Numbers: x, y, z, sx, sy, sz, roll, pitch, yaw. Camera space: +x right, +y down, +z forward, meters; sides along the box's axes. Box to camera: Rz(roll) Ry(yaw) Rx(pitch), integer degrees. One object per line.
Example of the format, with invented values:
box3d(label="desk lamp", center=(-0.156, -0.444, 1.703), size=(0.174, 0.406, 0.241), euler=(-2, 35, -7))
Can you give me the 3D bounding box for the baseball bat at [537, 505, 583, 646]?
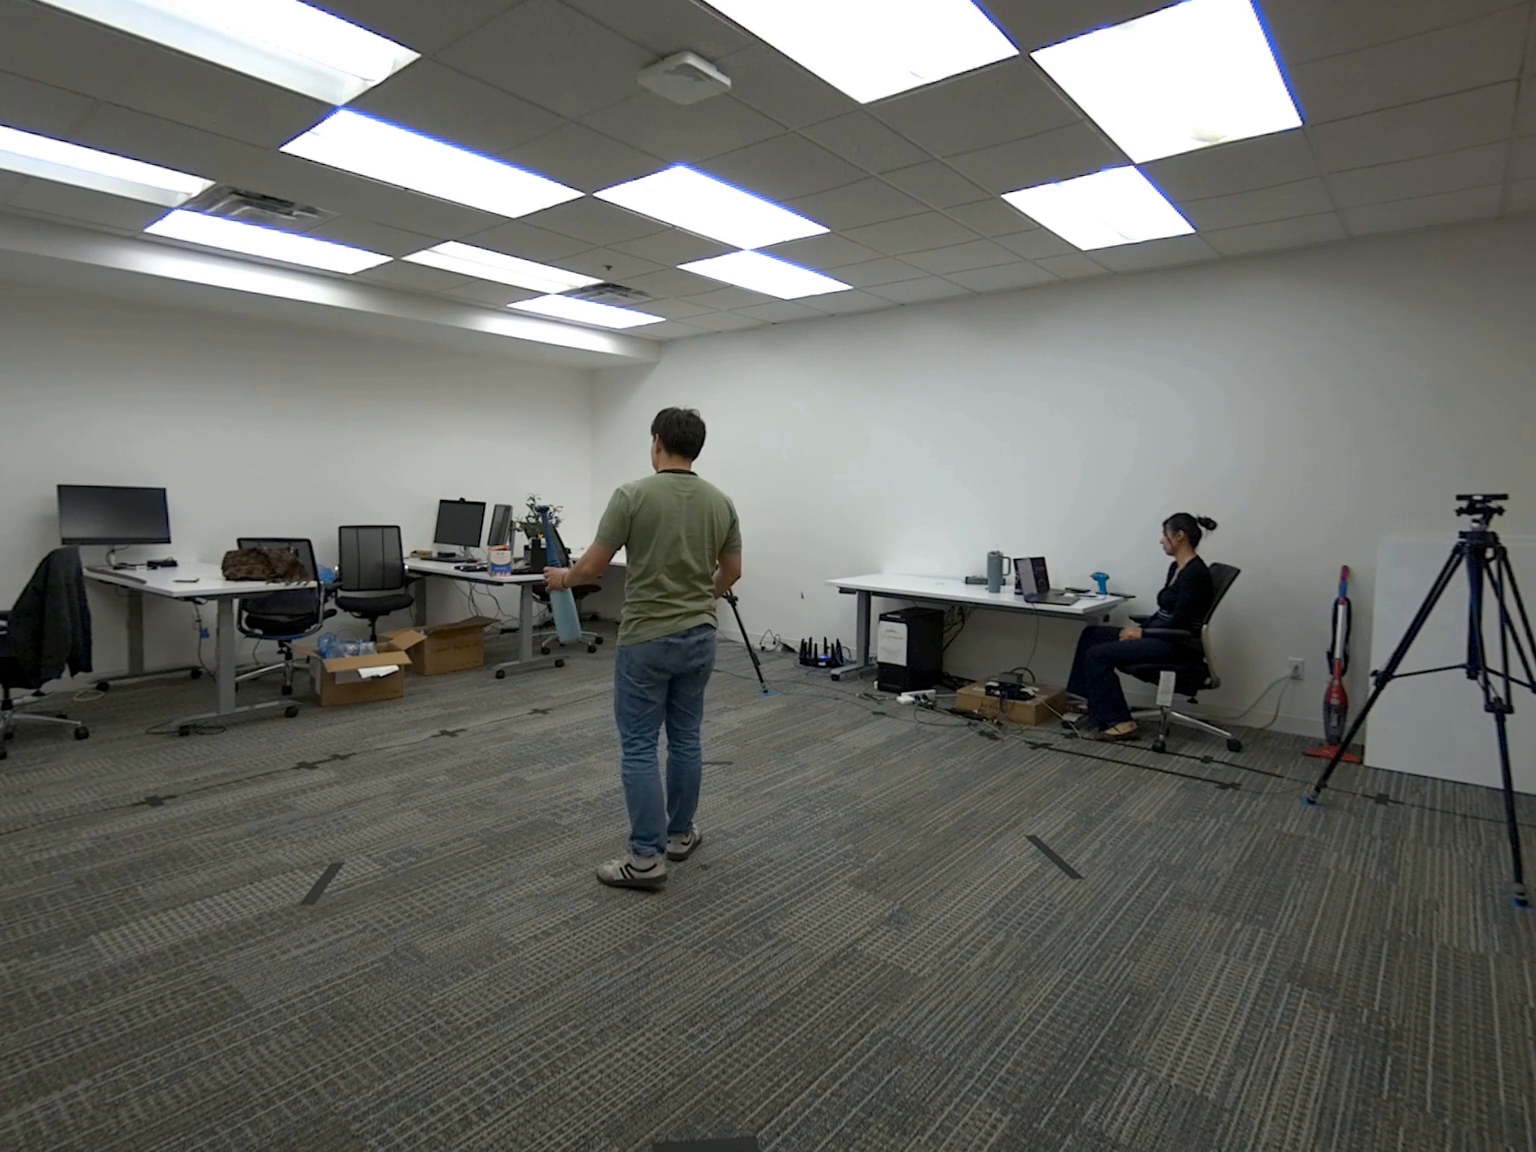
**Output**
box3d(label="baseball bat", center=(-0.826, -0.001, 3.287), size=(0.089, 0.539, 0.090), euler=(-11, 6, 0))
